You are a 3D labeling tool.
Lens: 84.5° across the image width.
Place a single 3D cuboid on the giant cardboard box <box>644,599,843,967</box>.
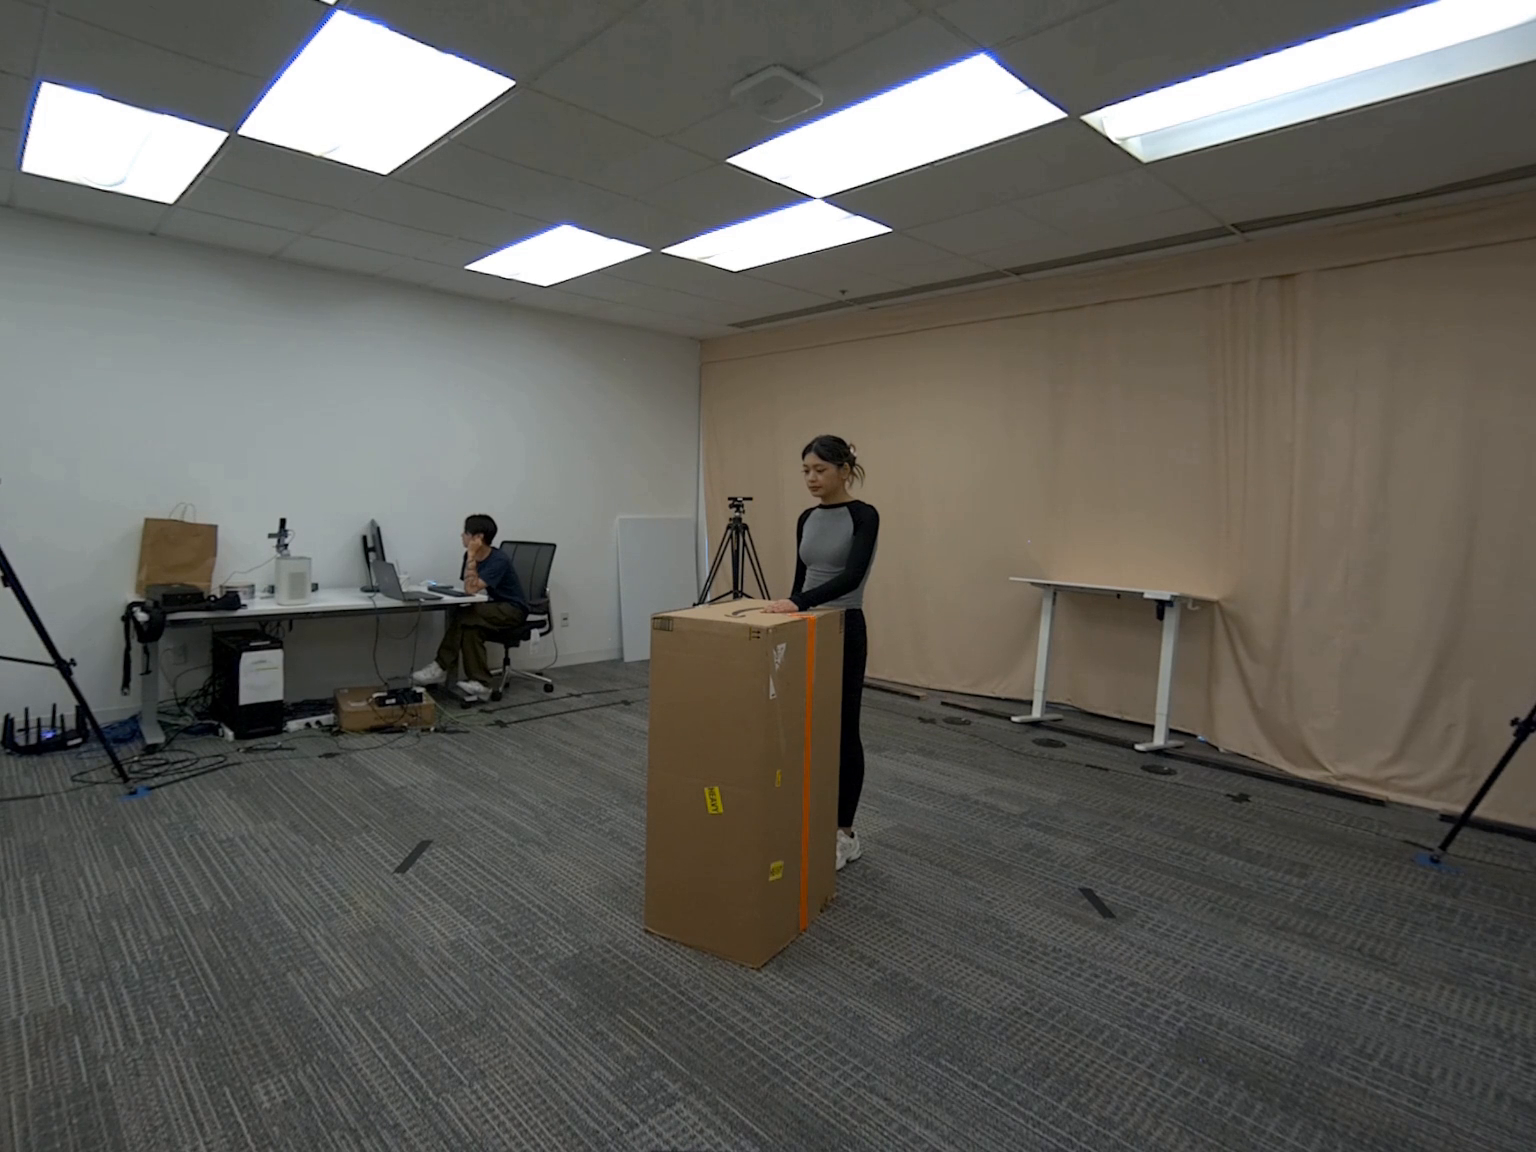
[{"bbox_3d":[-0.070,0.632,2.804,0.456,1.025,0.573,2,3,28],"label":"giant cardboard box"}]
